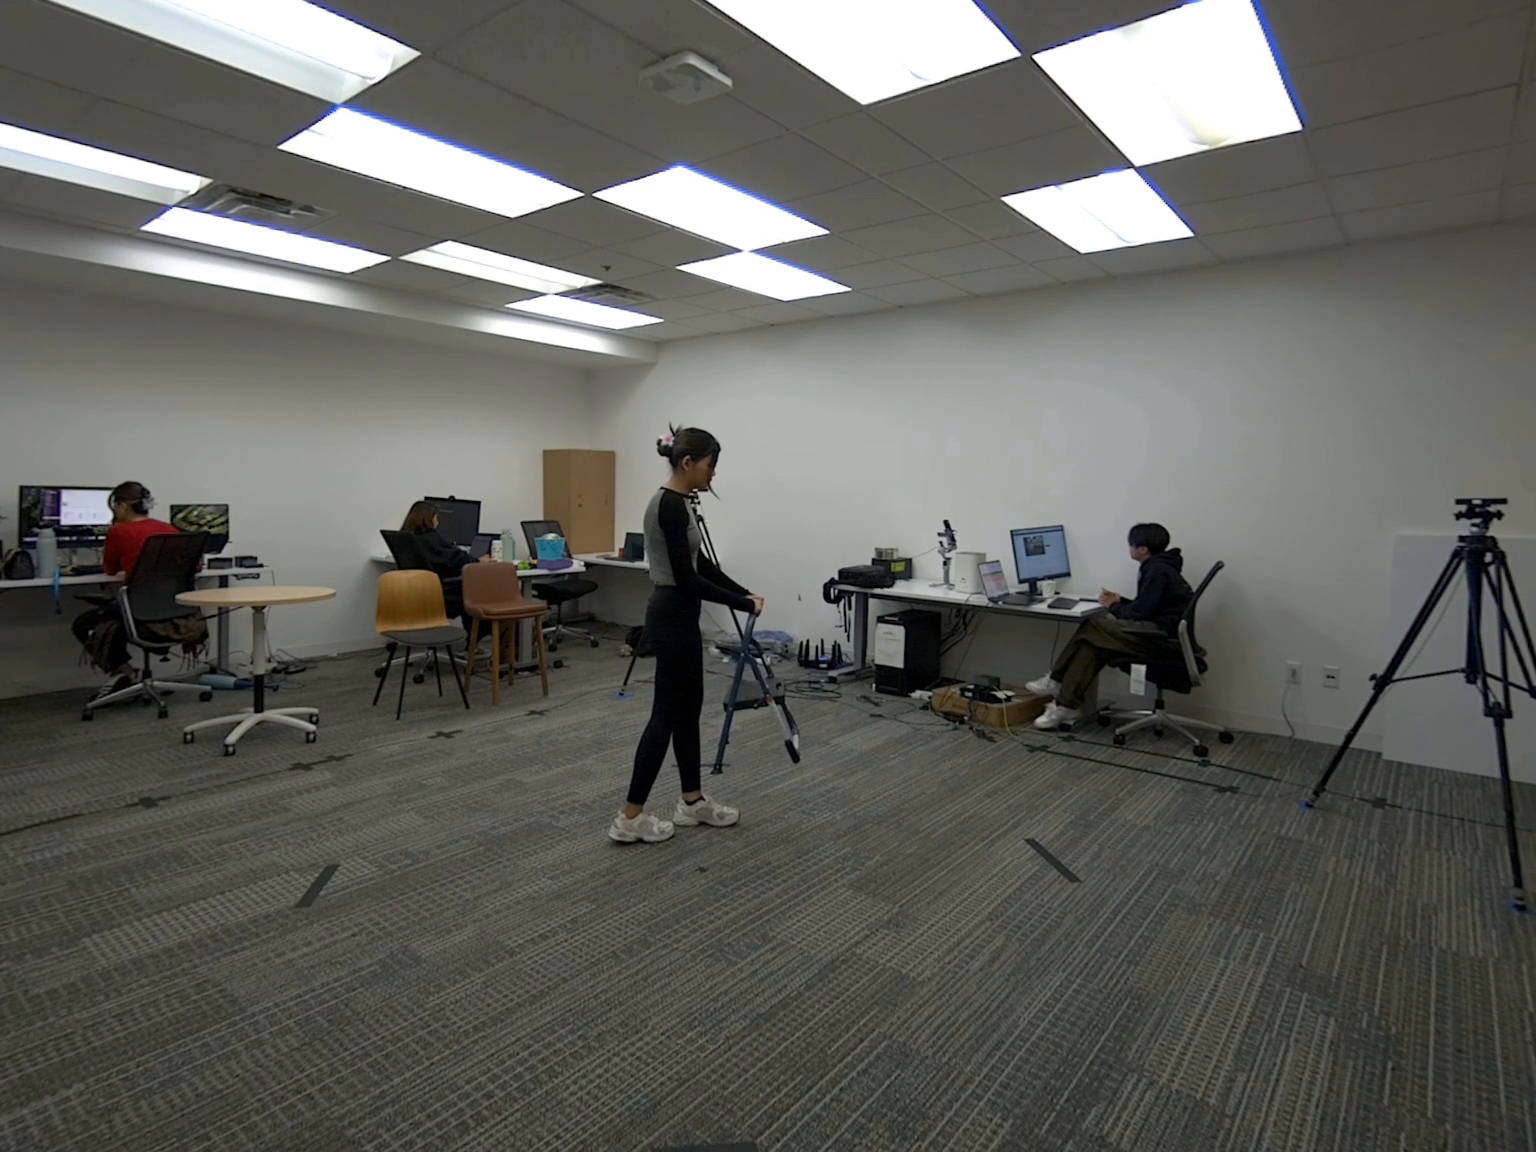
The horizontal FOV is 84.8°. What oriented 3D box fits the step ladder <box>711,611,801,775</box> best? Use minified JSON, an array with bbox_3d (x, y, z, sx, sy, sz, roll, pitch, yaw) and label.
[{"bbox_3d":[-0.099,0.431,3.468,0.350,0.605,0.430,-8,3,3],"label":"step ladder"}]
